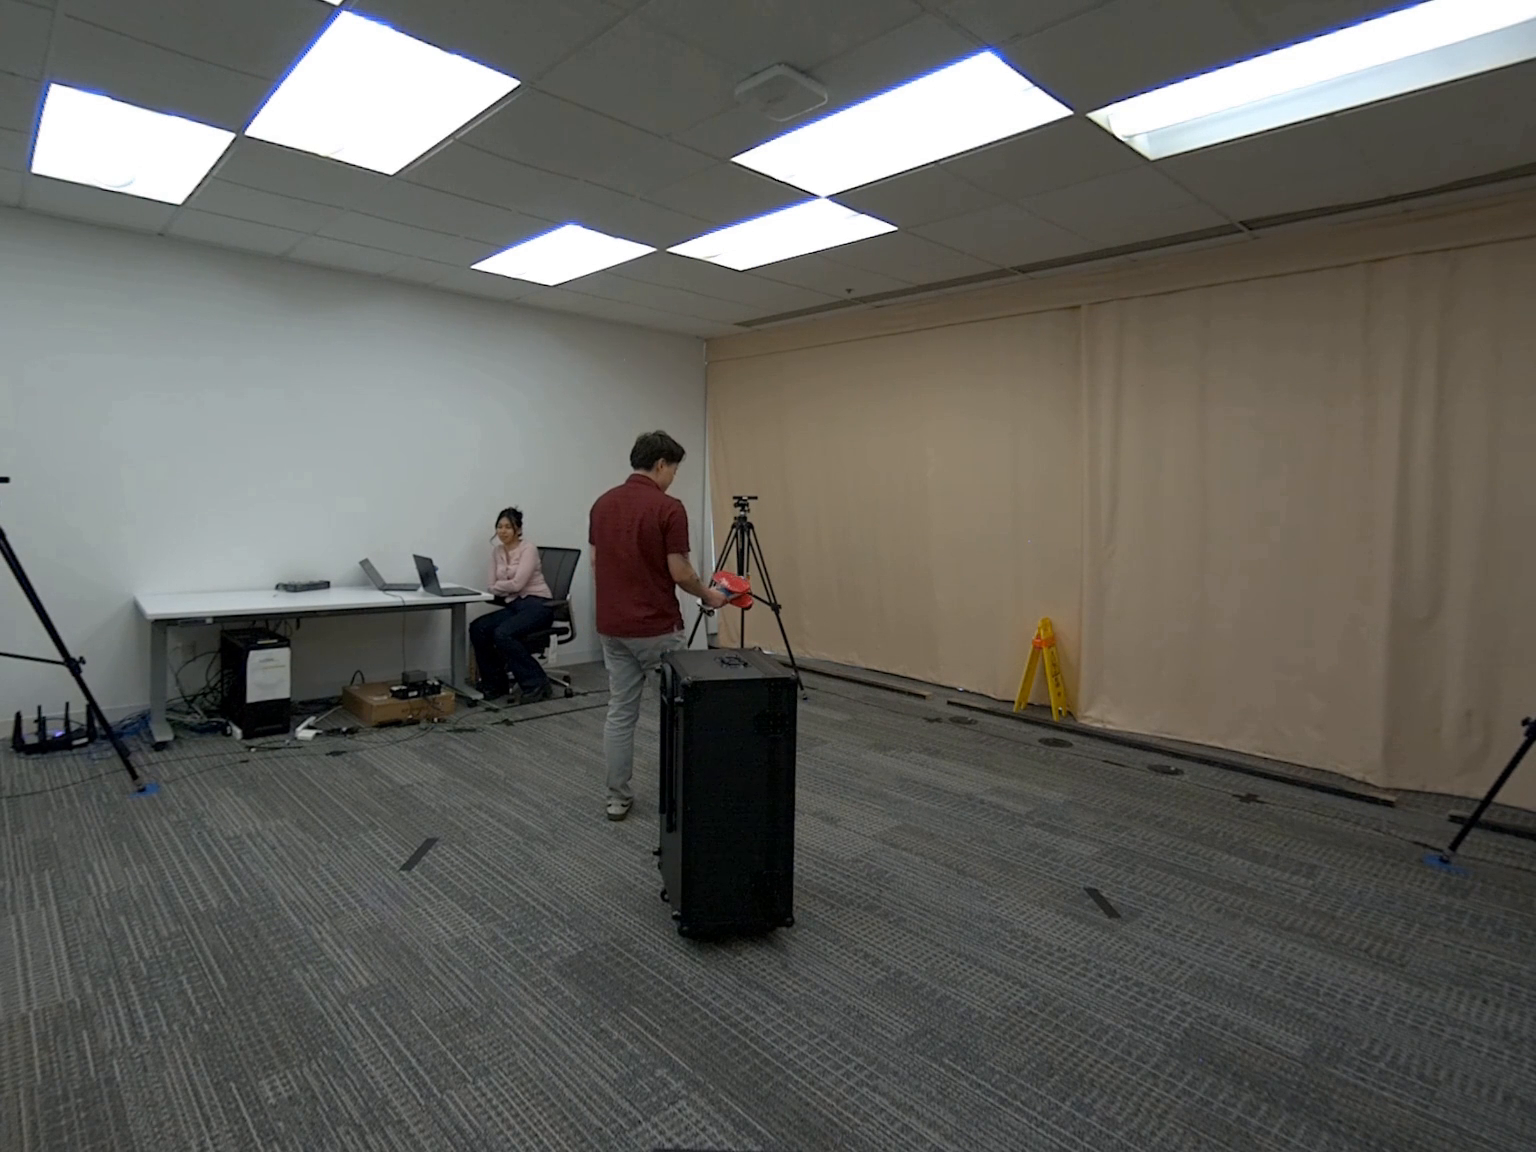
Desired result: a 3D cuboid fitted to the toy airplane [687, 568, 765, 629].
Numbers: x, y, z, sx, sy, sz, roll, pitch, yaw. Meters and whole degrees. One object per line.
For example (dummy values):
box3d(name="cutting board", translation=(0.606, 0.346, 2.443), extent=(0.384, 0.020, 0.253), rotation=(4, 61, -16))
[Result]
box3d(name="toy airplane", translation=(-0.189, 0.094, 3.828), extent=(0.257, 0.154, 0.257), rotation=(10, 21, 27))
